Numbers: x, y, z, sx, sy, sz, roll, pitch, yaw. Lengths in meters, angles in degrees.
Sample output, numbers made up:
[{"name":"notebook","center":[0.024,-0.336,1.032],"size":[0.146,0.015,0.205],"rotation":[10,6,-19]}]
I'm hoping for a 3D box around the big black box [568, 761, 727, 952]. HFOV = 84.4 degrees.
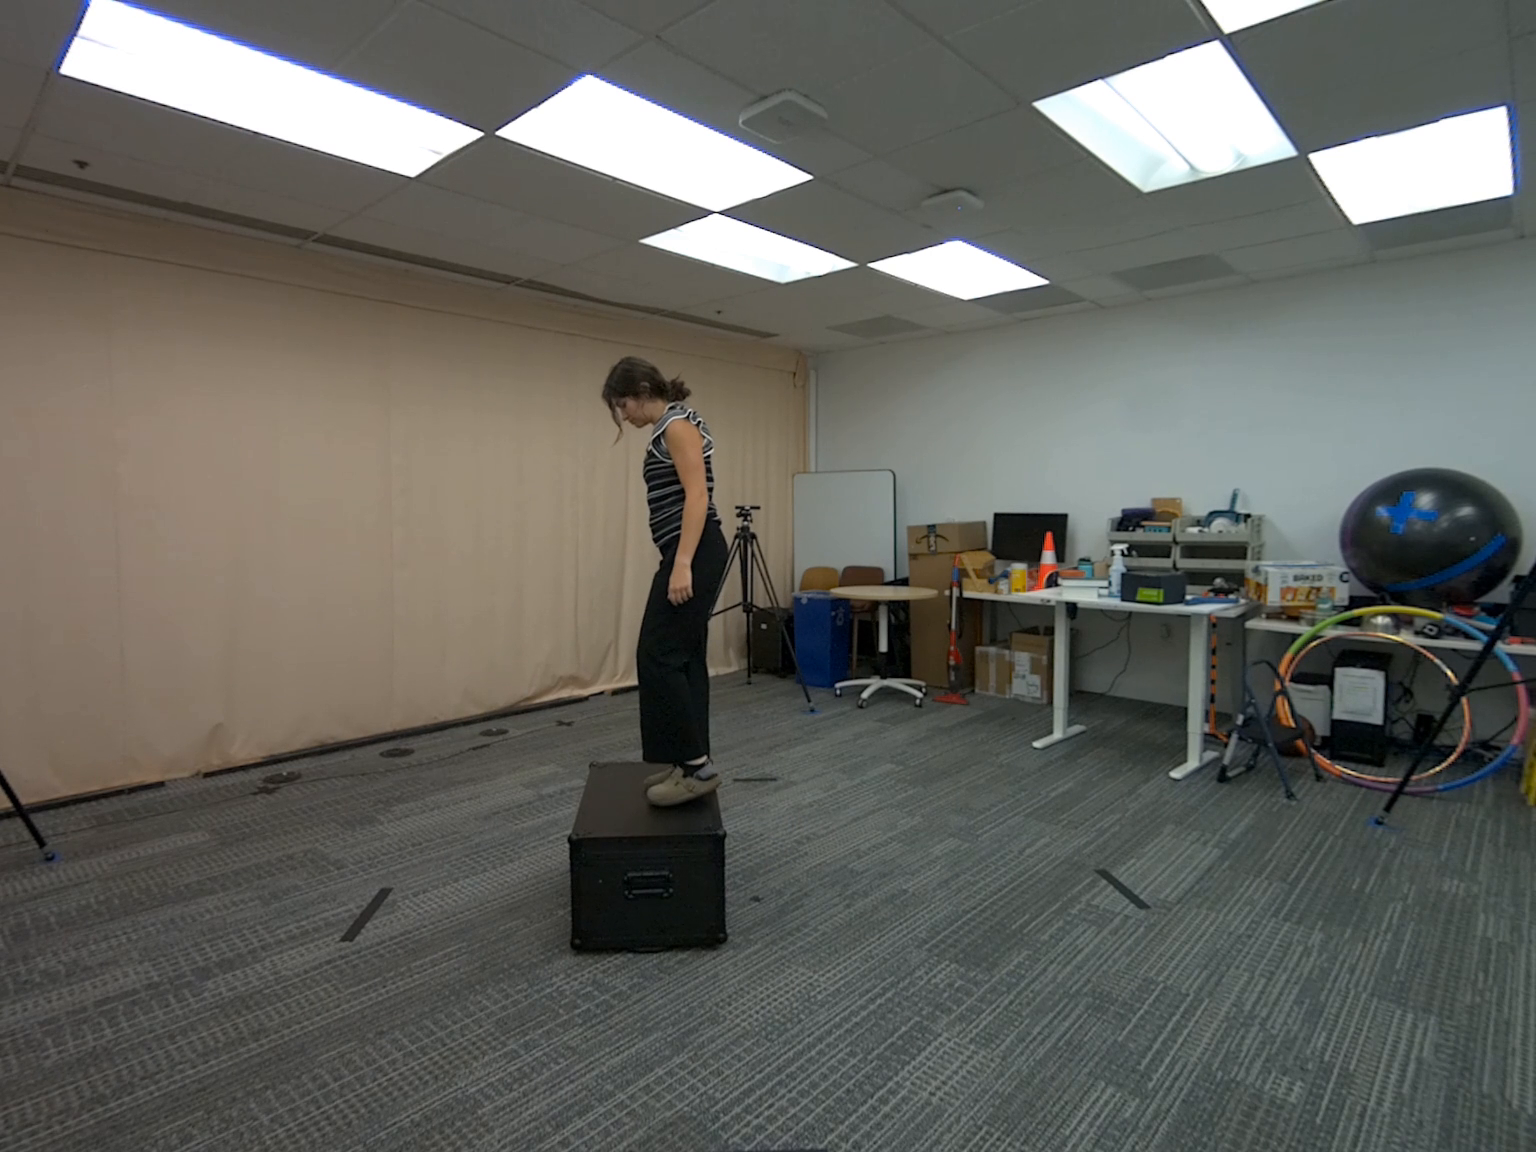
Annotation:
[{"name":"big black box","center":[-0.418,0.951,3.026],"size":[0.518,0.395,0.869],"rotation":[-1,5,-7]}]
